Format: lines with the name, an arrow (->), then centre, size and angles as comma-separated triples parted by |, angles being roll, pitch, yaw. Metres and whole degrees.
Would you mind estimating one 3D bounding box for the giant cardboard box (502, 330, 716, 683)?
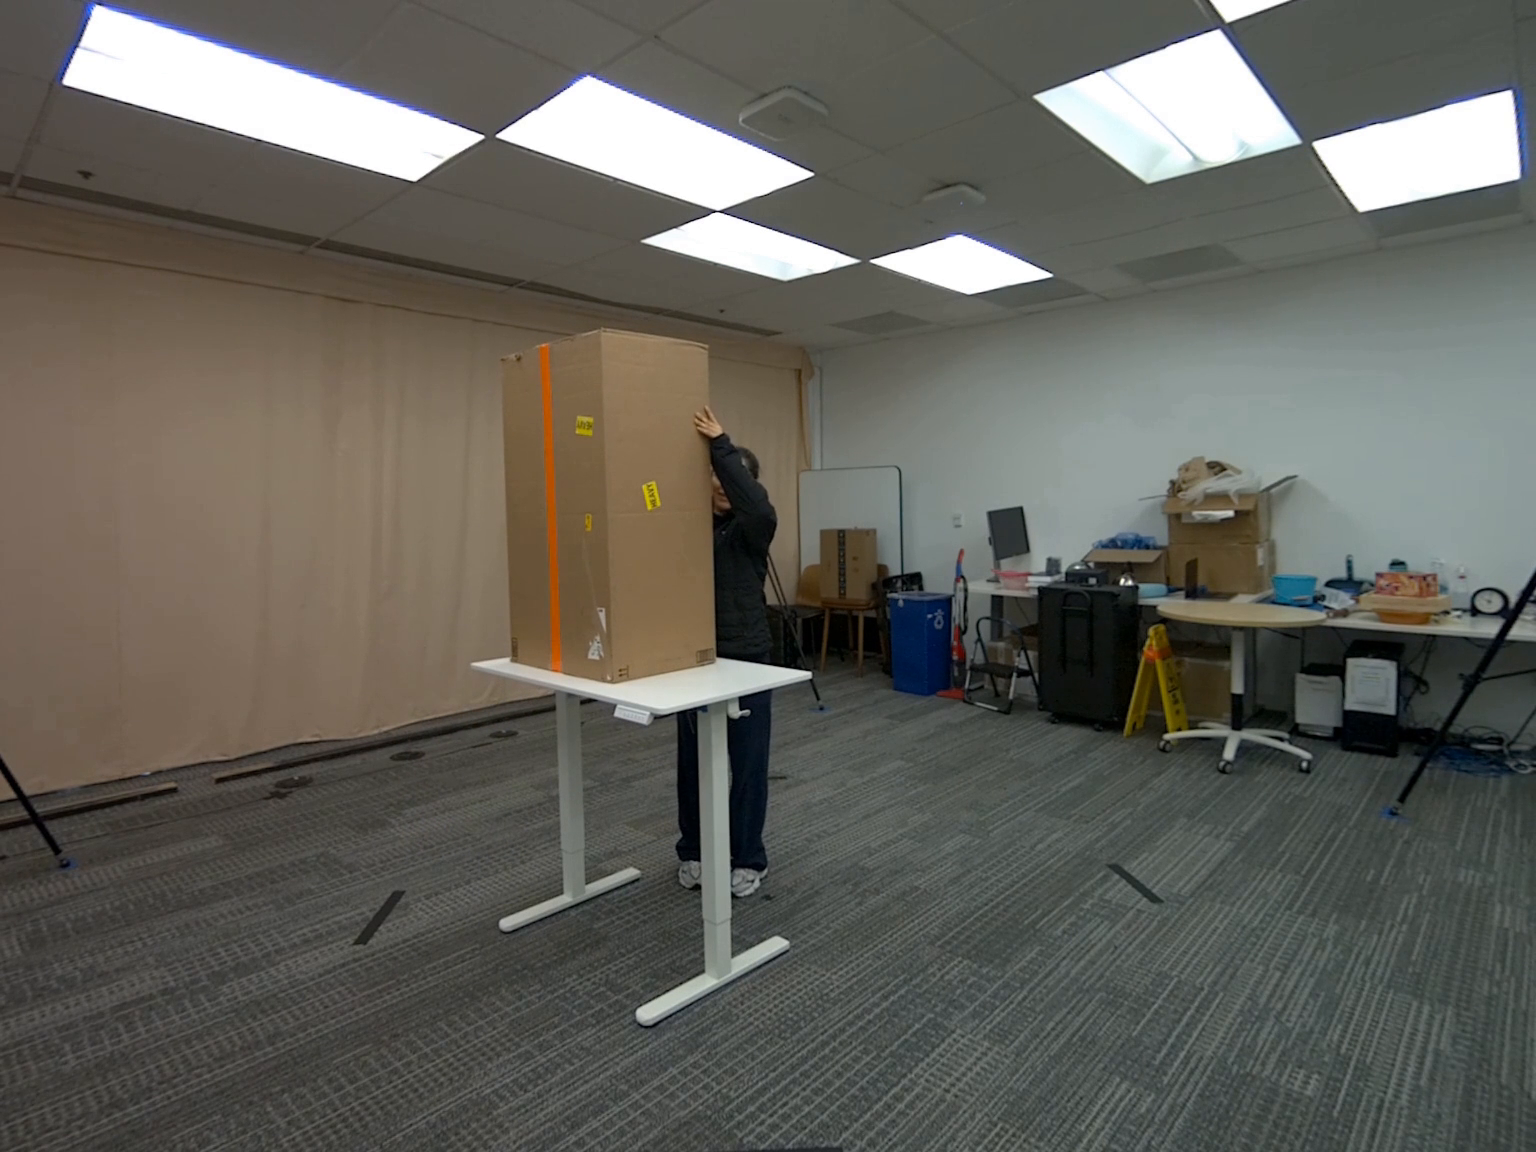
giant cardboard box -> -0.517, -0.220, 2.763 | 0.433, 1.025, 0.603 | -5, 5, -44
